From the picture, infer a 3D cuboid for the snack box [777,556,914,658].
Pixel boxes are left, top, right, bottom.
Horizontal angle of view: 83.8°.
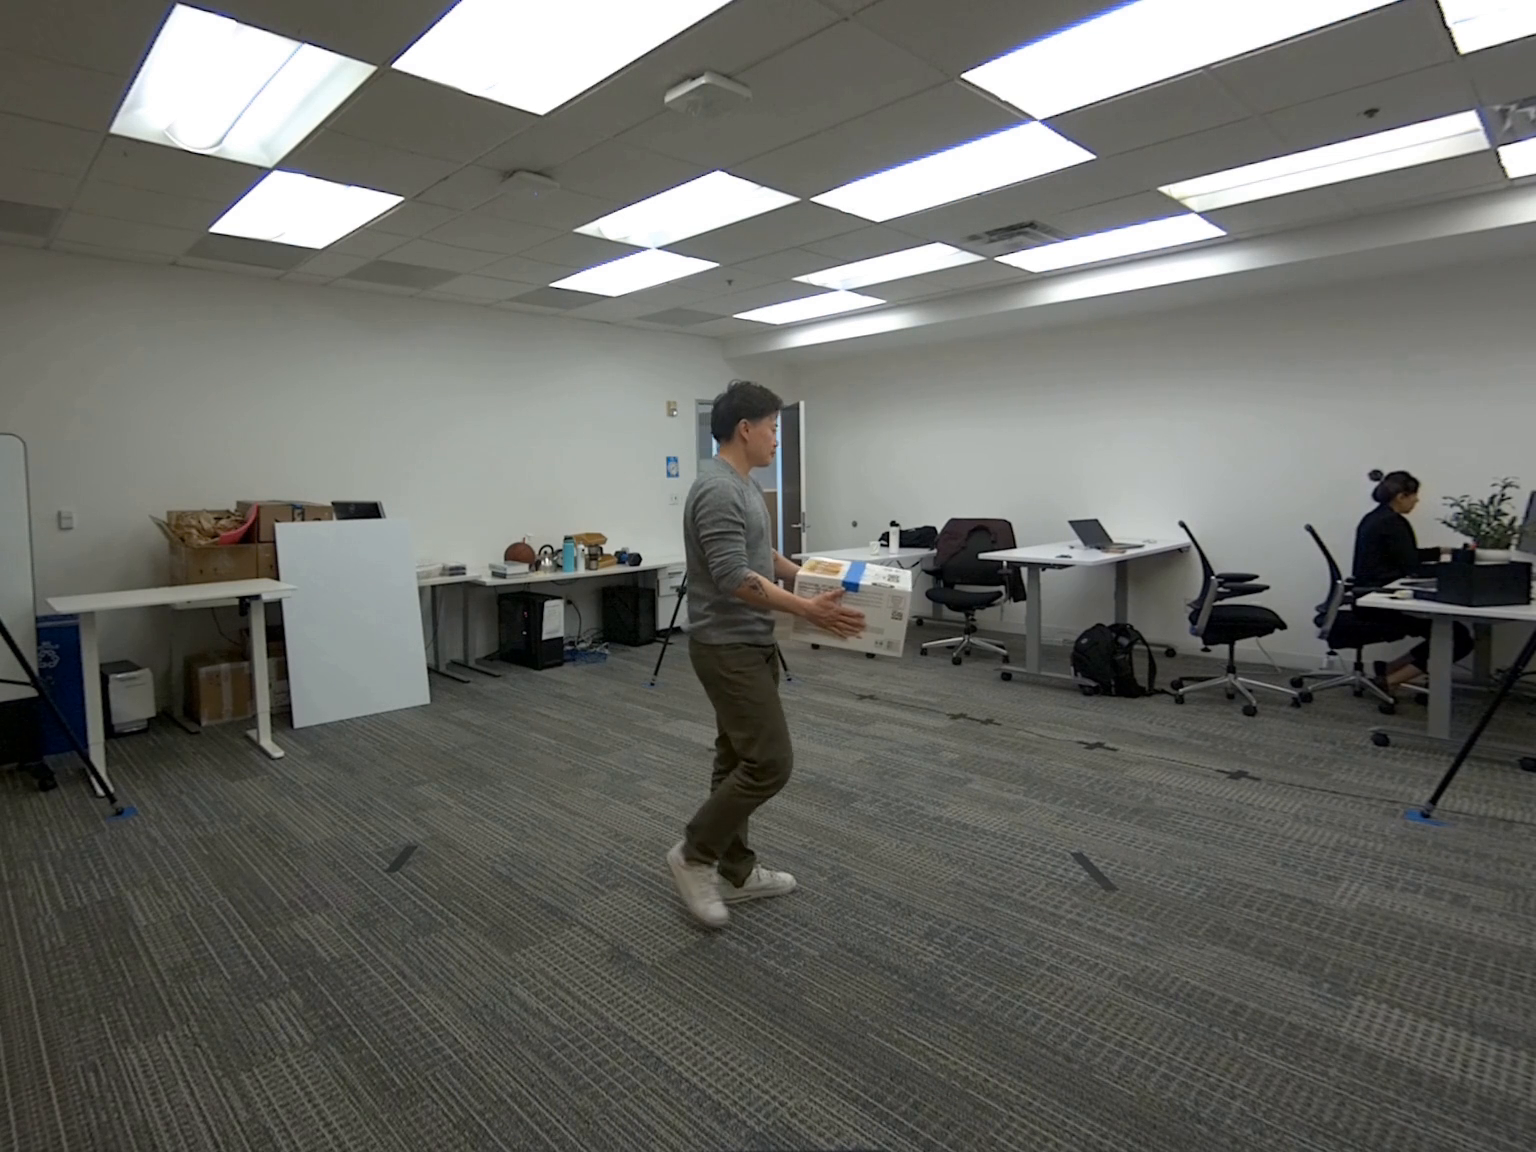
[{"bbox_3d":[0.263,0.087,2.698,0.344,0.204,0.403,8,9,10],"label":"snack box"}]
